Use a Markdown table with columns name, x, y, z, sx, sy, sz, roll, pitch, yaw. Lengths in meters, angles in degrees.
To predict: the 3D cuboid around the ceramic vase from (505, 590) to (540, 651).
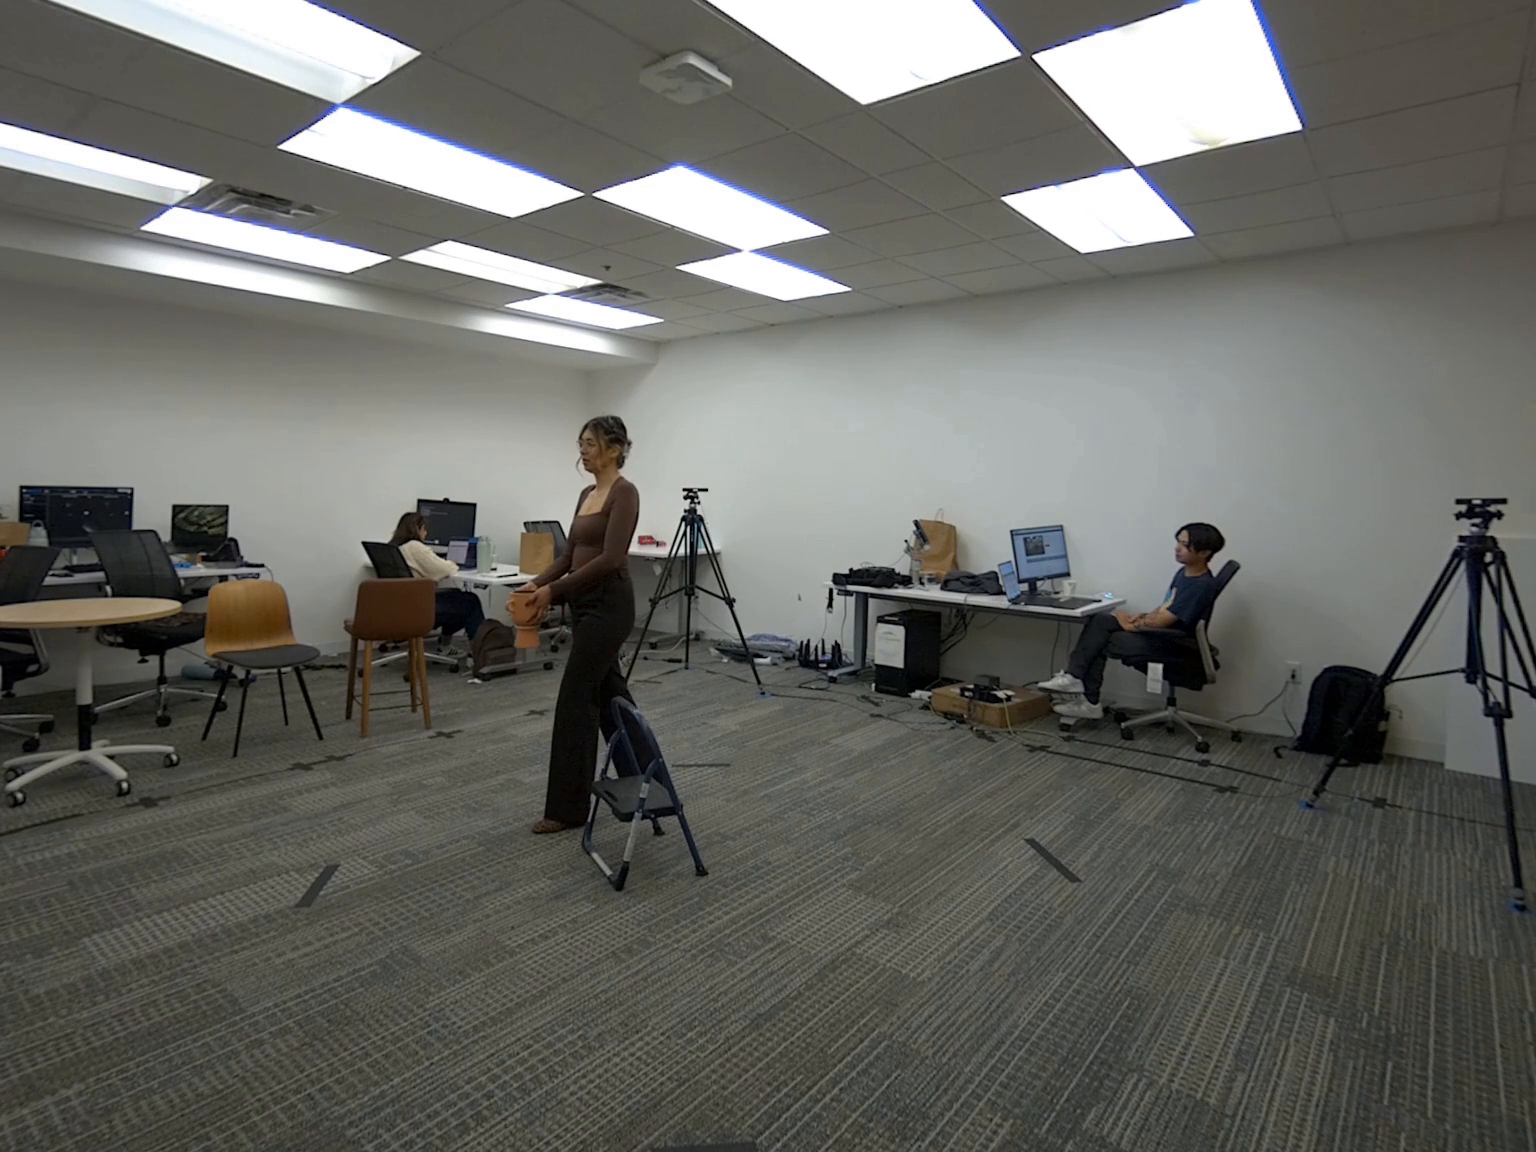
| name | x | y | z | sx | sy | sz | roll | pitch | yaw |
| --- | --- | --- | --- | --- | --- | --- | --- | --- | --- |
| ceramic vase | -0.984 | 0.168 | 3.417 | 0.158 | 0.219 | 0.136 | 0 | 2 | -6 |
